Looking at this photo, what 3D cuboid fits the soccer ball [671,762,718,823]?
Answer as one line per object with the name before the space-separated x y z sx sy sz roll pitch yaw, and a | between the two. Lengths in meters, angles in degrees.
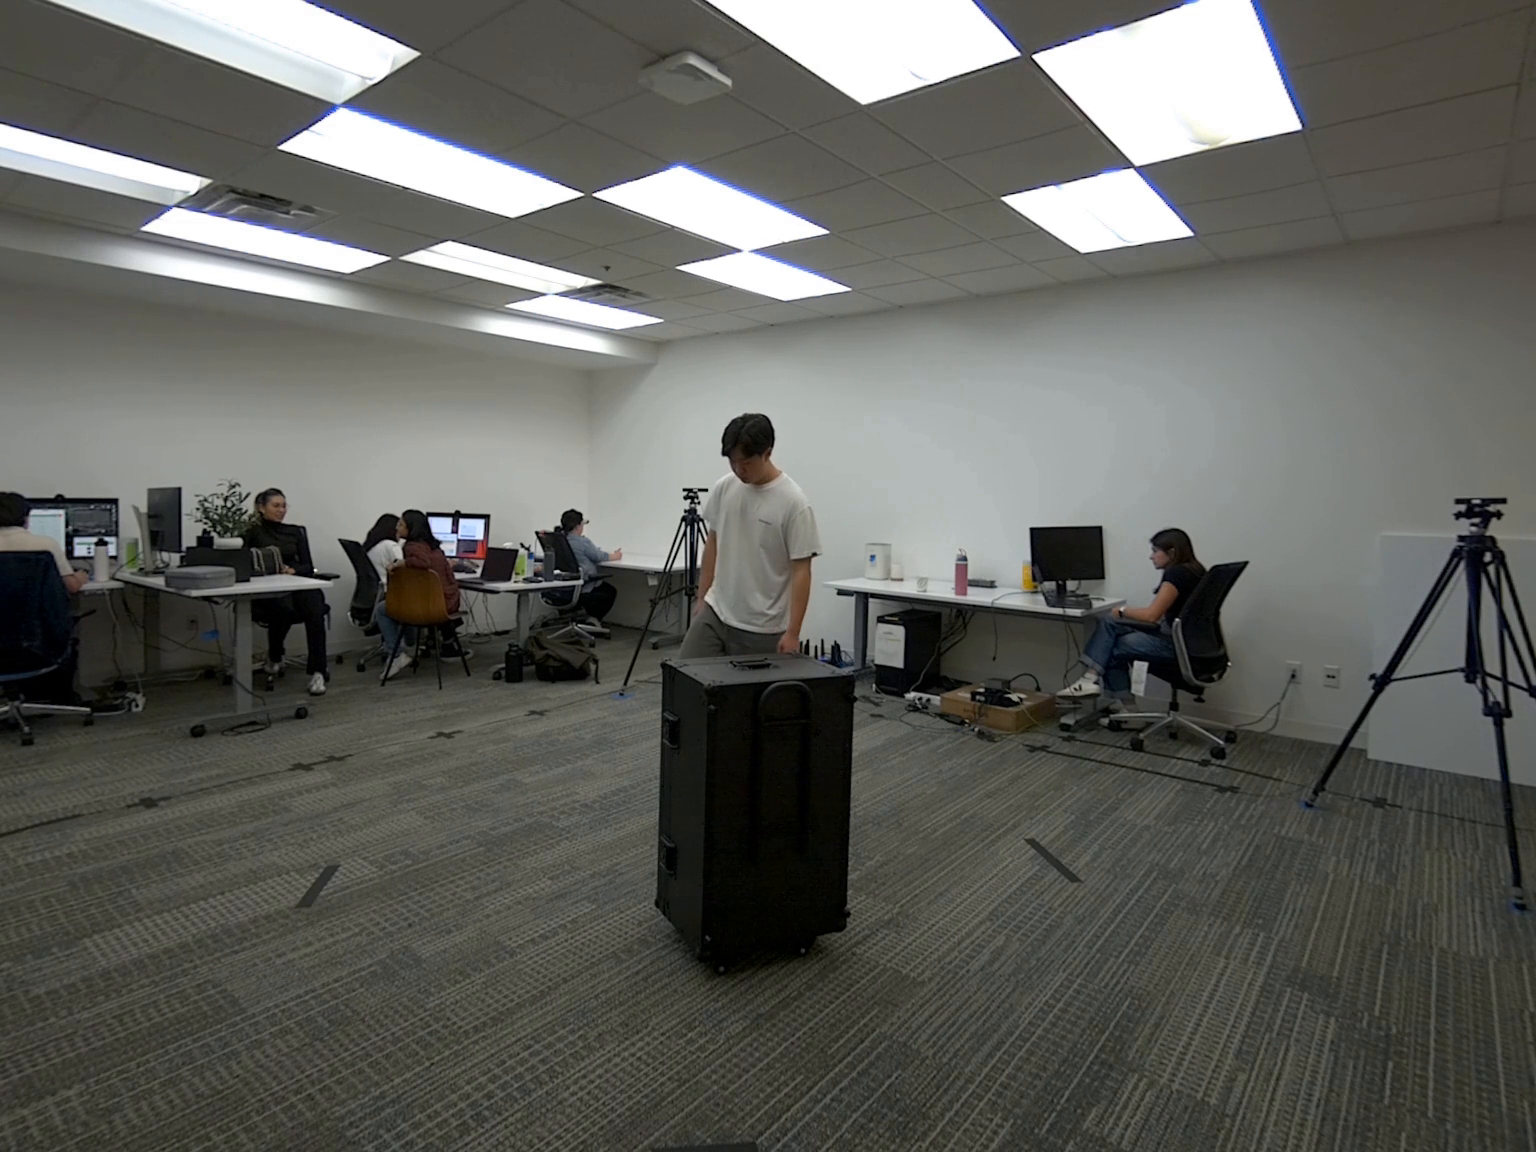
soccer ball | -0.314 0.915 3.573 0.187 0.187 0.188 1 4 -2
